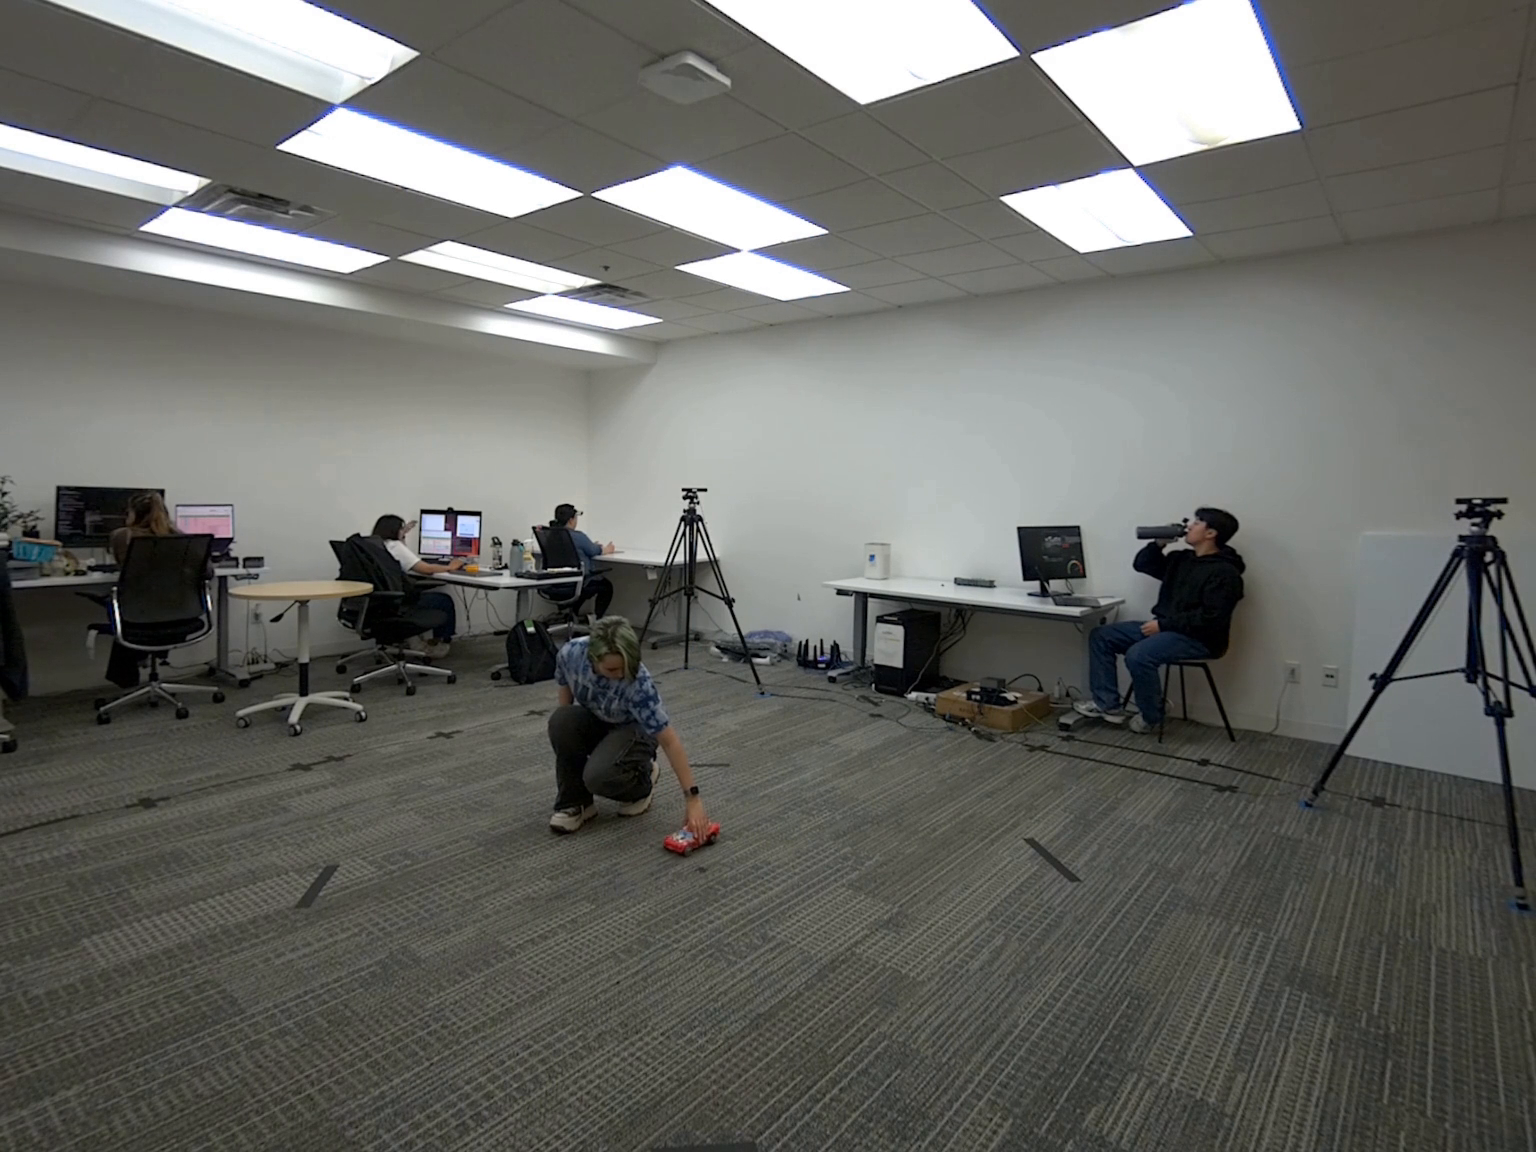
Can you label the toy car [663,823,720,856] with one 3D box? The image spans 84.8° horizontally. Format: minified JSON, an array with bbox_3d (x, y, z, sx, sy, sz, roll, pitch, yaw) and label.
[{"bbox_3d":[-0.303,1.018,3.319,0.134,0.082,0.249,4,16,39],"label":"toy car"}]
